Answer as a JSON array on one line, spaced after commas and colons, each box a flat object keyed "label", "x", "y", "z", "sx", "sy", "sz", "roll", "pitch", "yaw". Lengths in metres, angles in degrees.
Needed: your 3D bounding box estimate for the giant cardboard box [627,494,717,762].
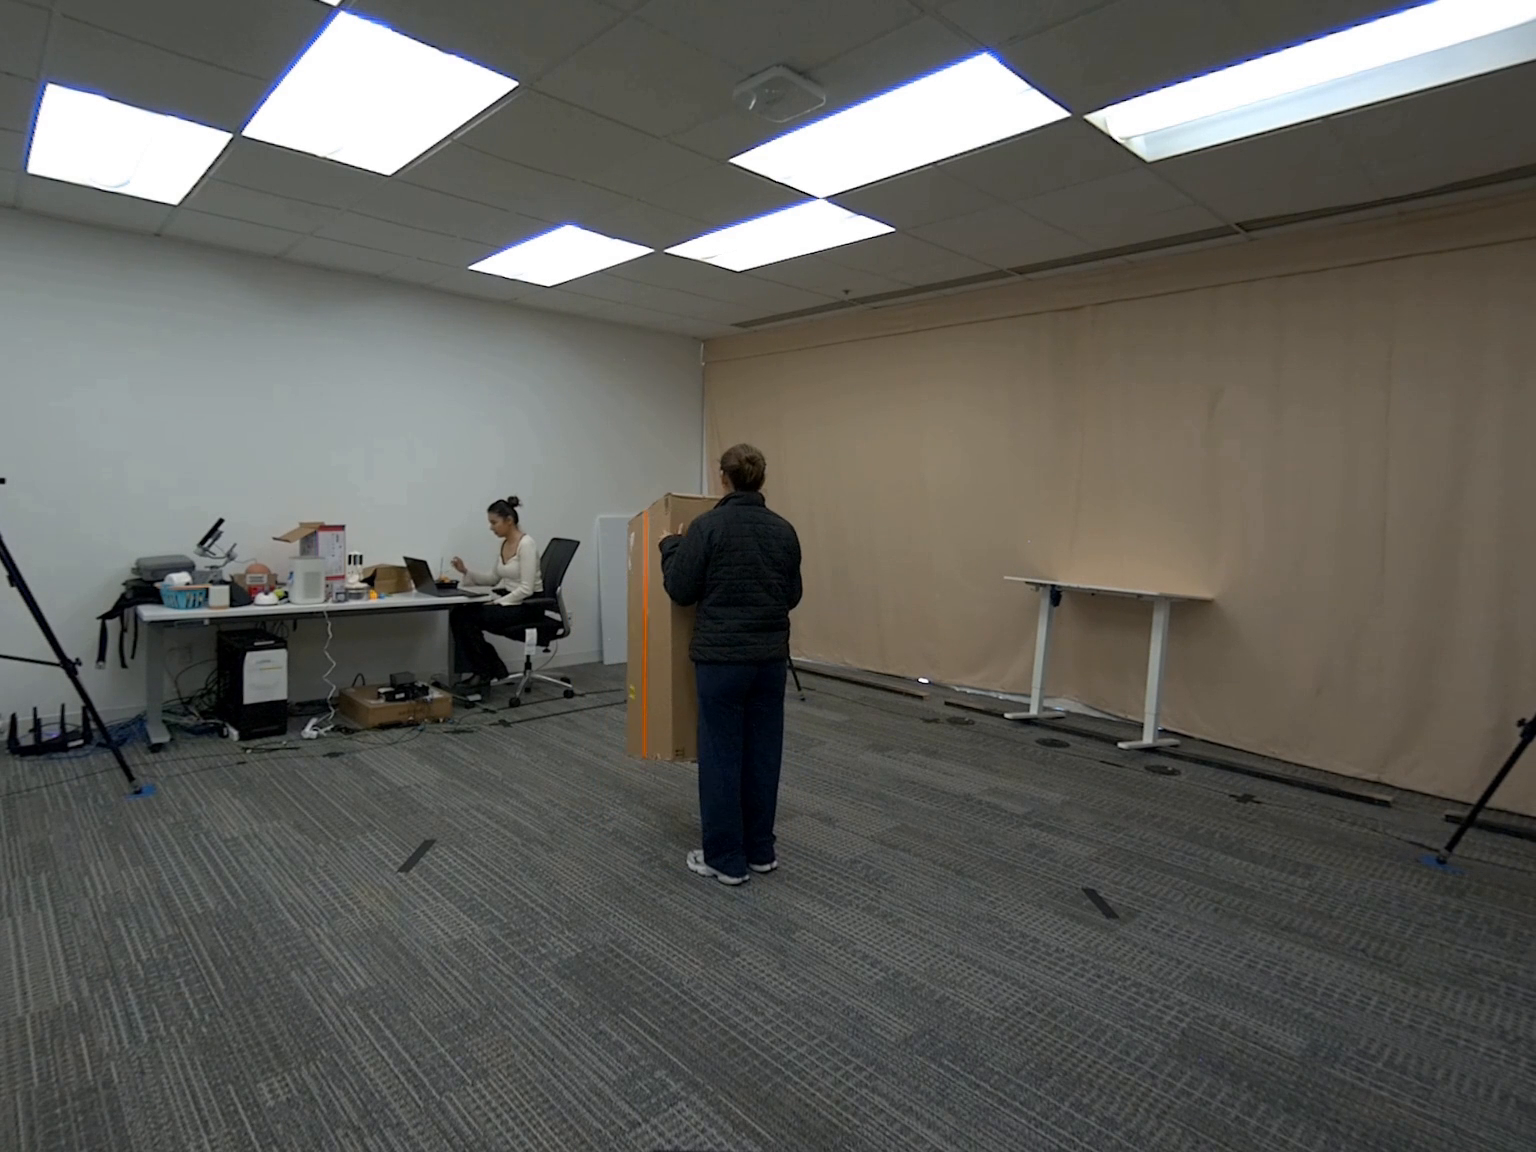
[{"label": "giant cardboard box", "x": -0.312, "y": 0.235, "z": 3.510, "sx": 0.418, "sy": 1.034, "sz": 0.583, "roll": 3, "pitch": -12, "yaw": -24}]
